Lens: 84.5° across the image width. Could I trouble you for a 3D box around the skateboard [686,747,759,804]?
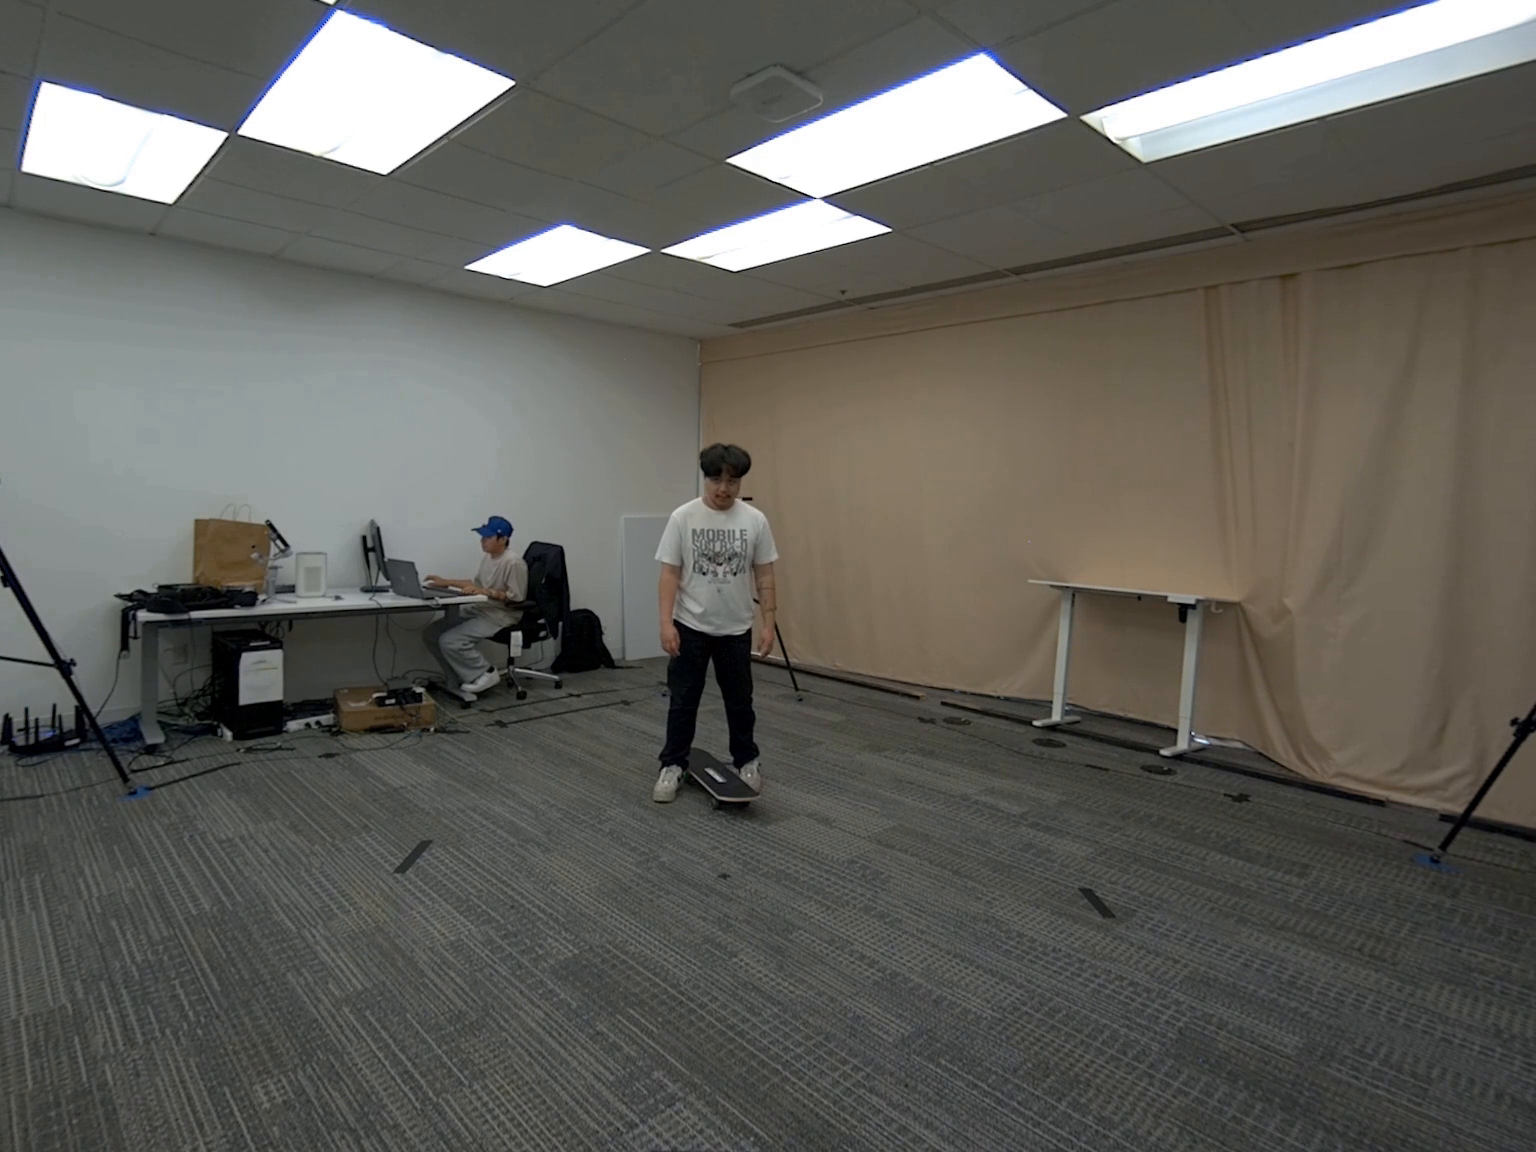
[{"bbox_3d":[-0.266,0.975,3.990,0.190,0.110,0.801,0,5,-24],"label":"skateboard"}]
